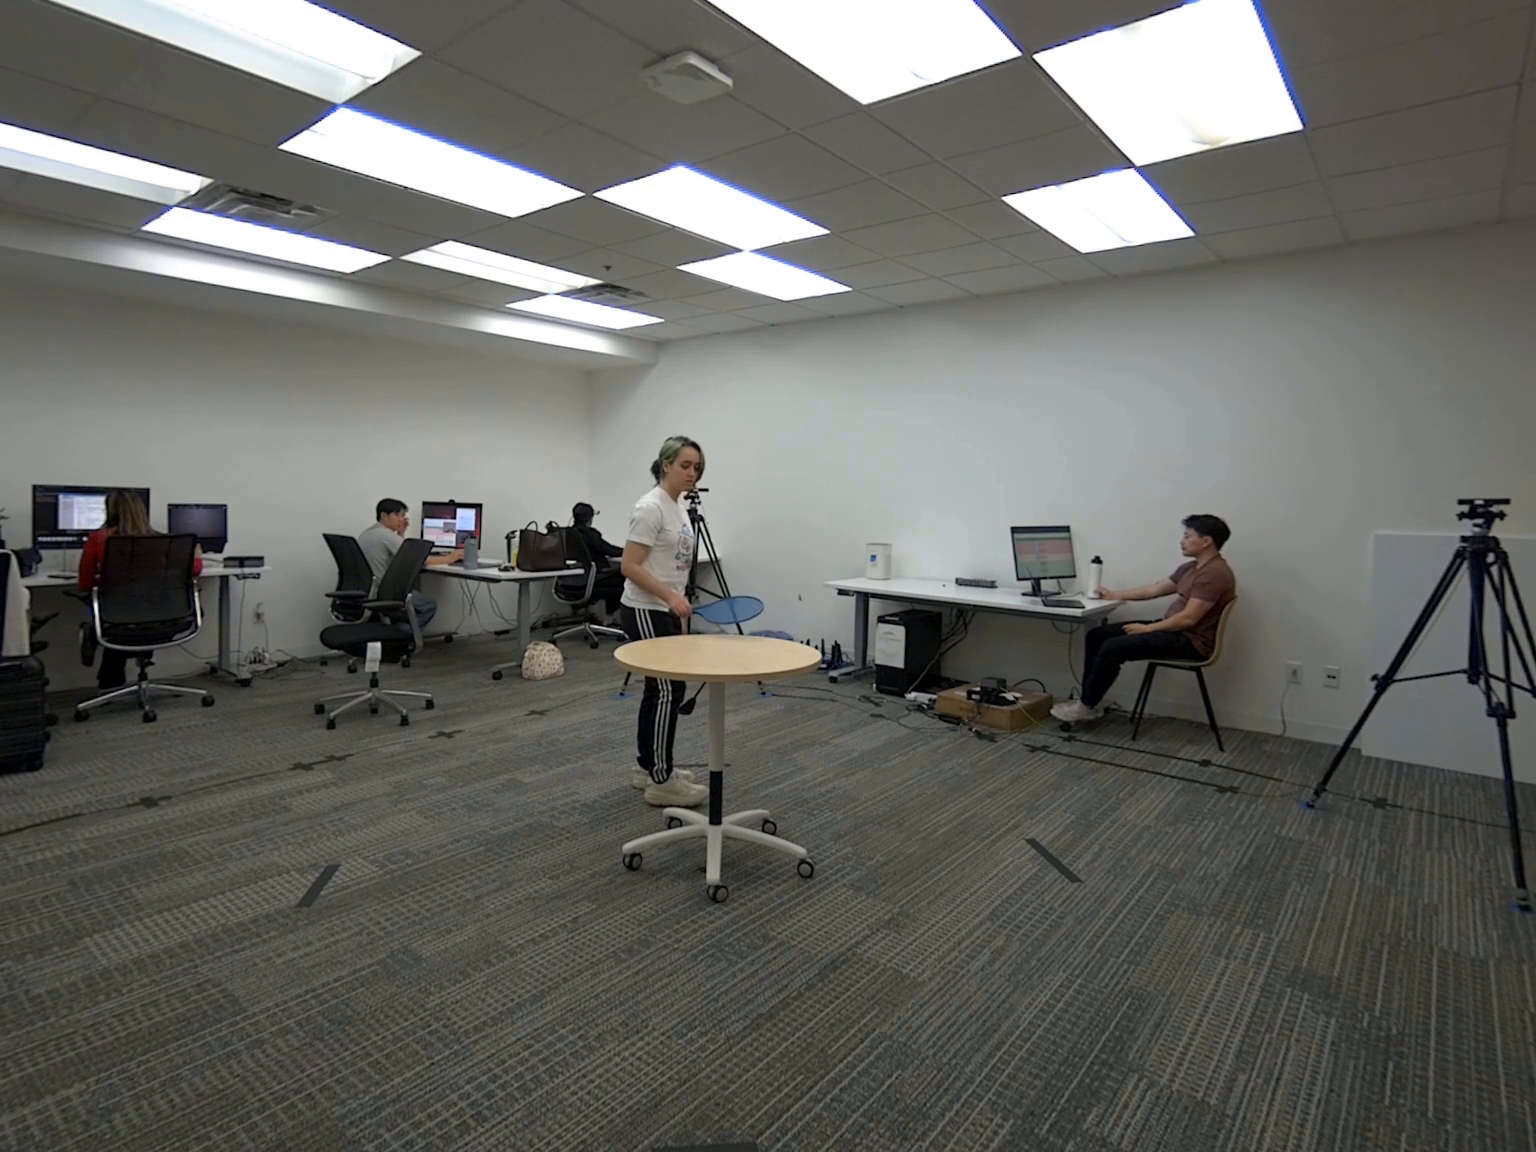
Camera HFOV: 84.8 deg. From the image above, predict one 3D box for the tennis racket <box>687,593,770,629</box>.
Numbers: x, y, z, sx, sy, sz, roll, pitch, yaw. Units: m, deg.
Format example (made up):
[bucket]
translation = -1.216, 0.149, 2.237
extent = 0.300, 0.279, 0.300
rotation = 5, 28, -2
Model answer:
[tennis racket]
translation = -0.233, 0.143, 3.549
extent = 0.444, 0.031, 0.214
rotation = 0, 29, 26
